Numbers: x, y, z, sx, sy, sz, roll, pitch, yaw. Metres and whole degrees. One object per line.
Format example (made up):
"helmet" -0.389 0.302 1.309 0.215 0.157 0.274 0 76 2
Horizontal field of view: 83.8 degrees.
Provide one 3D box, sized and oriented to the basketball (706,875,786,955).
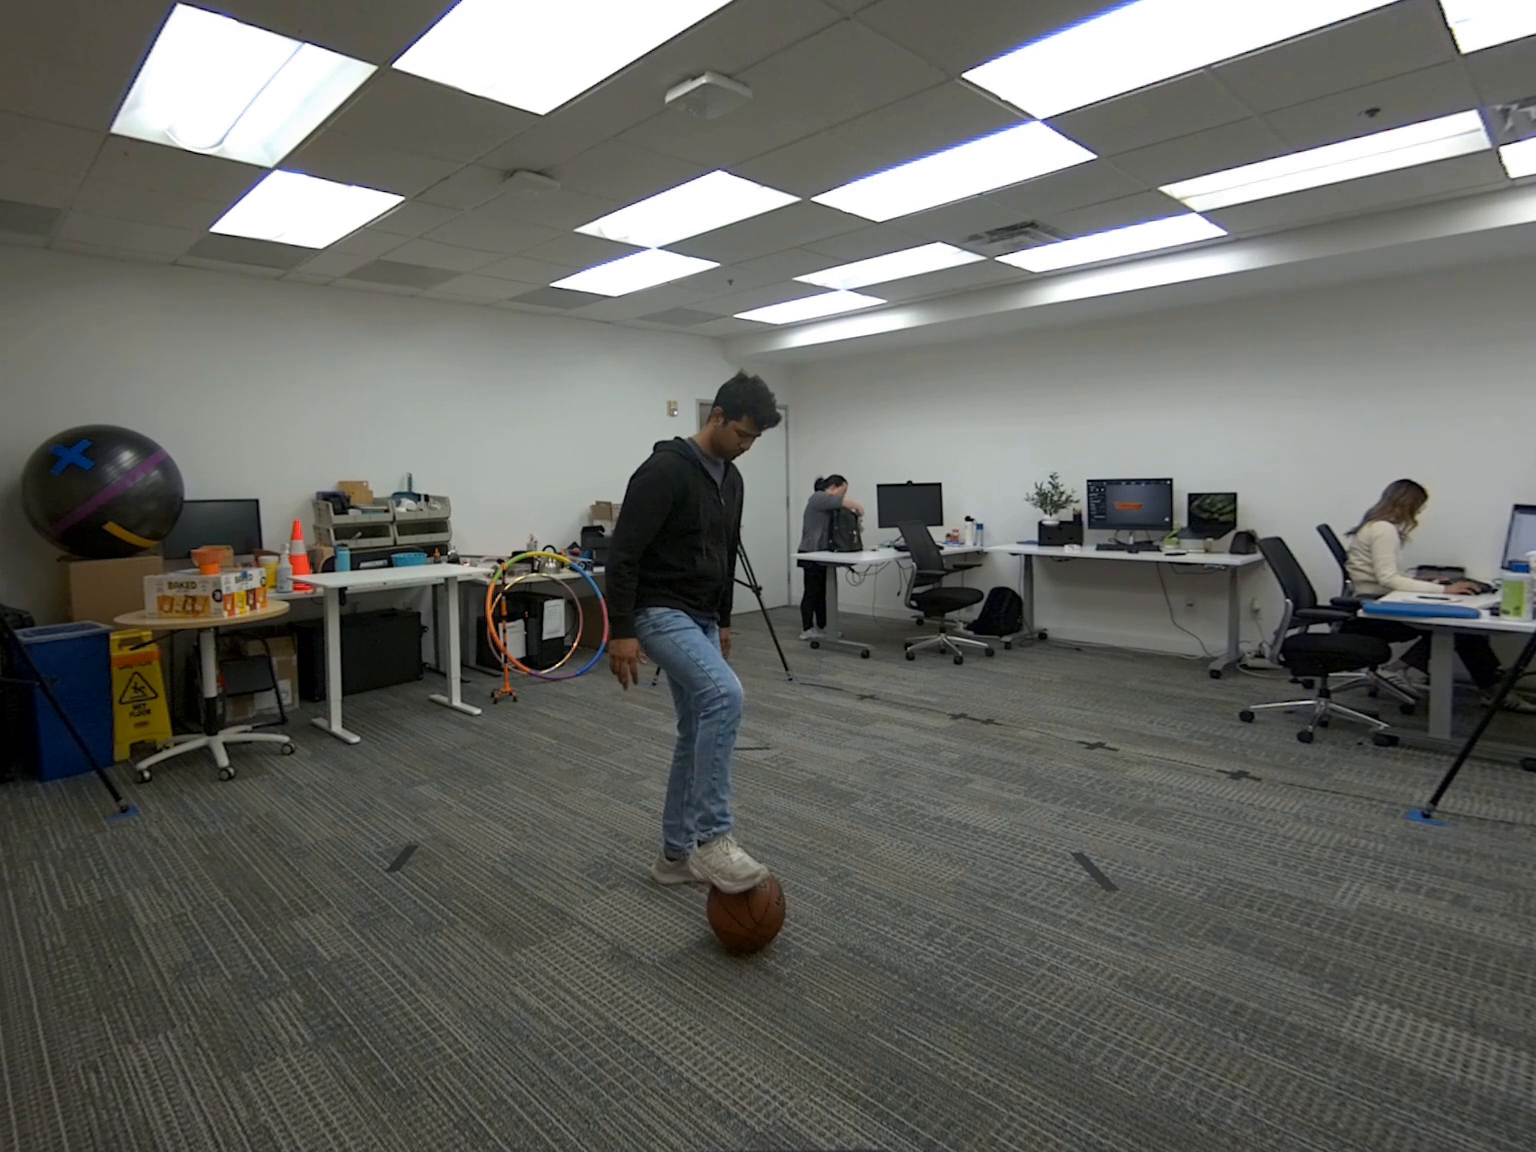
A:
"basketball" -0.062 0.989 2.576 0.236 0.235 0.237 -1 5 -2
